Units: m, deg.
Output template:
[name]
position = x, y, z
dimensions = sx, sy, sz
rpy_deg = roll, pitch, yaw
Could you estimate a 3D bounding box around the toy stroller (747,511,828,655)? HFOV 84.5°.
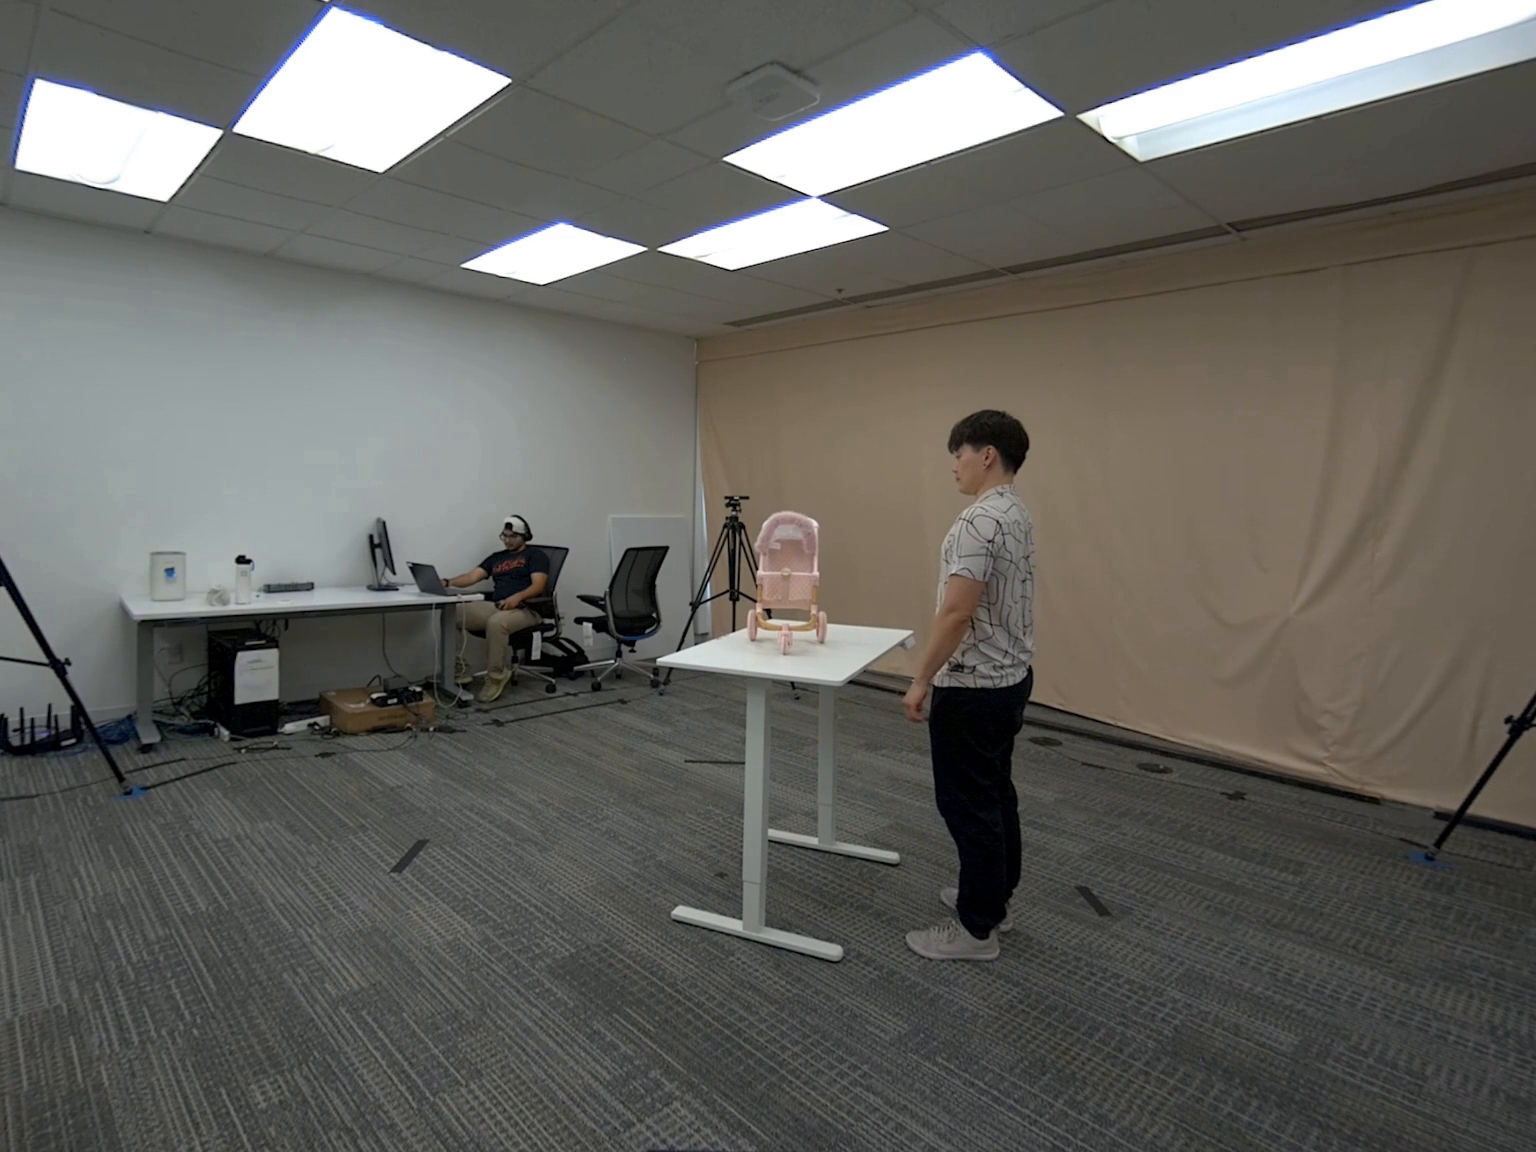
[toy stroller]
position = 0.055, 0.013, 2.932
dimensions = 0.283, 0.540, 0.337
rpy_deg = 0, -12, 5
